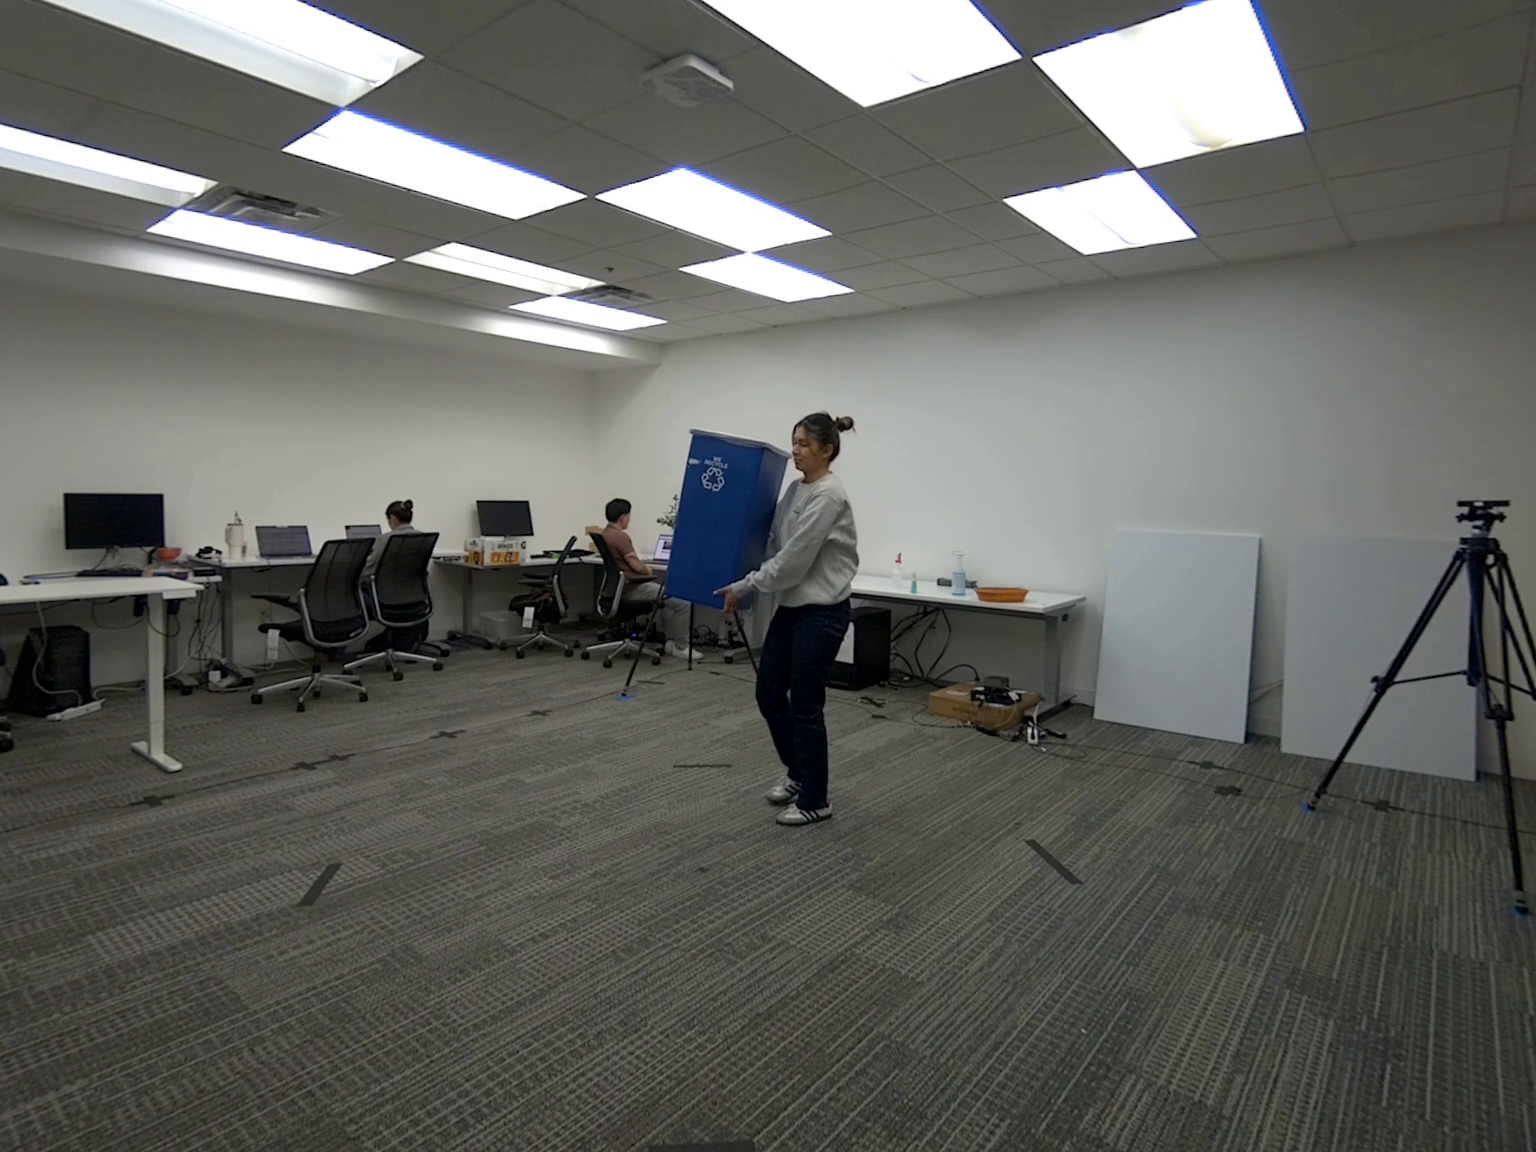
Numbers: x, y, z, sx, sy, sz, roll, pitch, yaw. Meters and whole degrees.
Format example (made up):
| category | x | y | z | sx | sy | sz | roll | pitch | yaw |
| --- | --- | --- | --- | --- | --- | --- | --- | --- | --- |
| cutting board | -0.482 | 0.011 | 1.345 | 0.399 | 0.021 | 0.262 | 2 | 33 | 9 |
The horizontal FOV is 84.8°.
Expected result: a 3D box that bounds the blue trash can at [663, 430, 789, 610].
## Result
| category | x | y | z | sx | sy | sz | roll | pitch | yaw |
| --- | --- | --- | --- | --- | --- | --- | --- | --- | --- |
| blue trash can | -0.195 | -0.239 | 3.685 | 0.384 | 0.712 | 0.369 | 13 | 3 | 20 |
